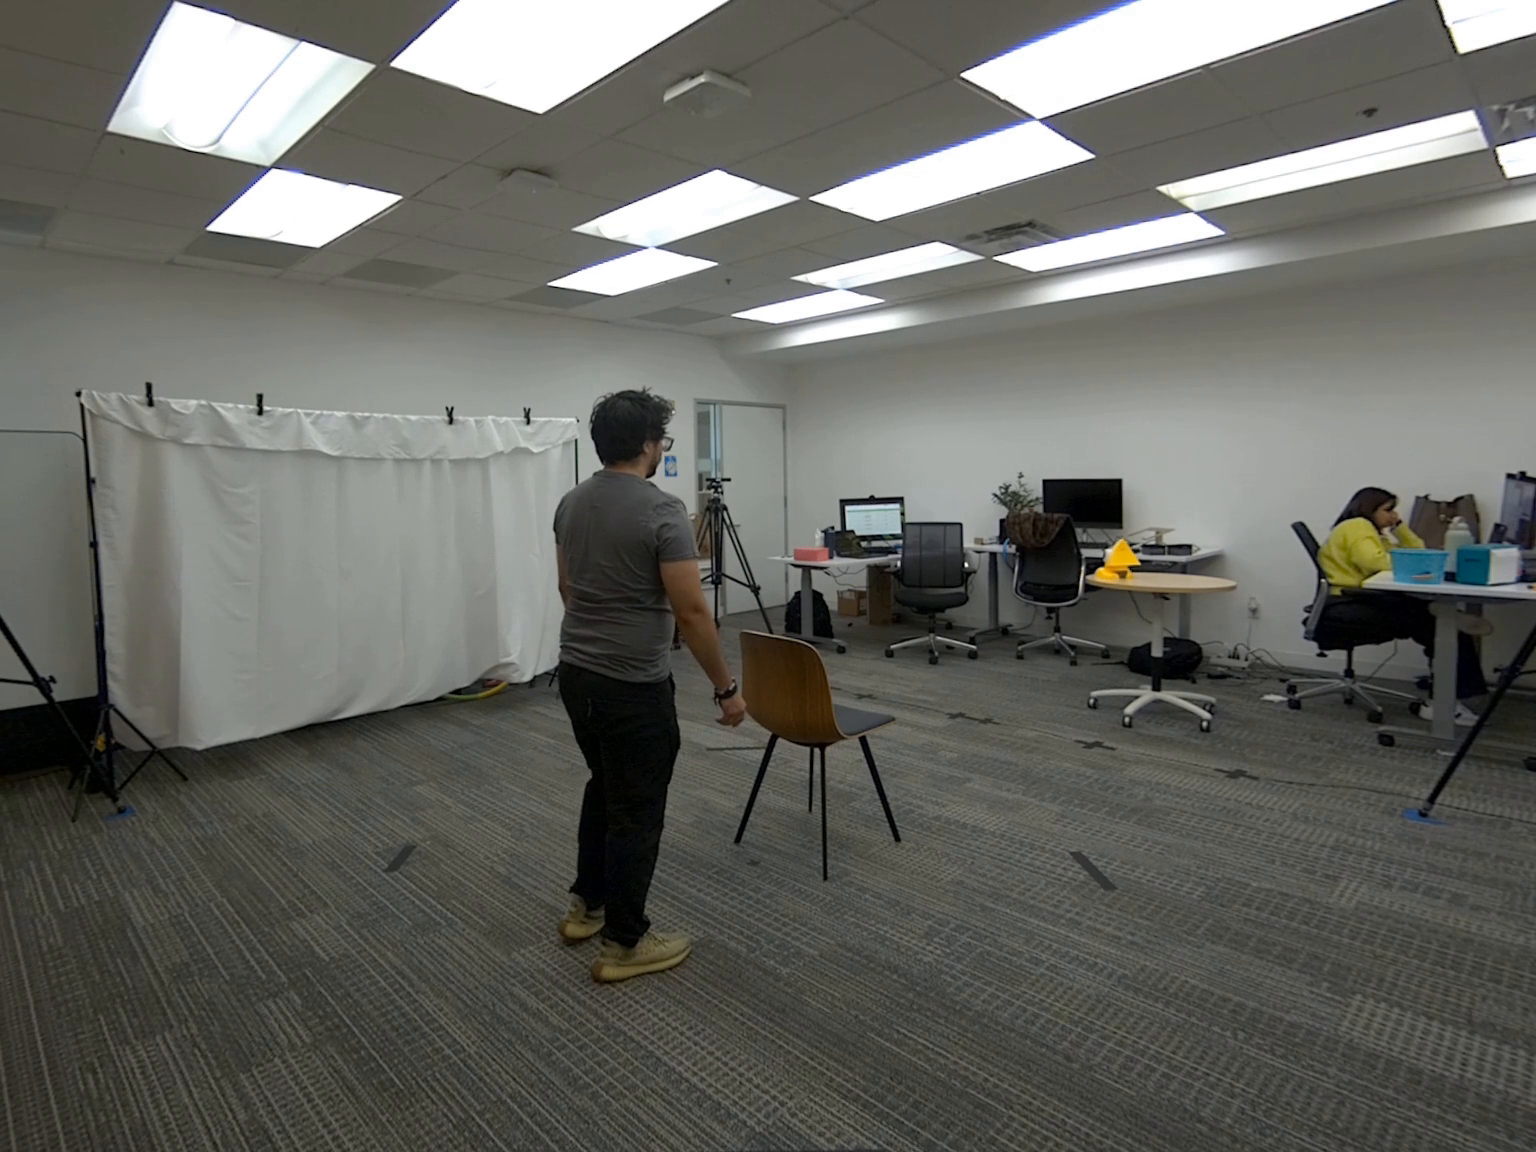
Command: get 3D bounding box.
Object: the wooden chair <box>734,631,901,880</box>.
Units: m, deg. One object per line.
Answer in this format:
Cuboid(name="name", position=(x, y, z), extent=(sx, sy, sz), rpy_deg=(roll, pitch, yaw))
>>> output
Cuboid(name="wooden chair", position=(0.188, 0.595, 3.244), extent=(0.493, 0.871, 0.511), rpy_deg=(3, 10, 44))
